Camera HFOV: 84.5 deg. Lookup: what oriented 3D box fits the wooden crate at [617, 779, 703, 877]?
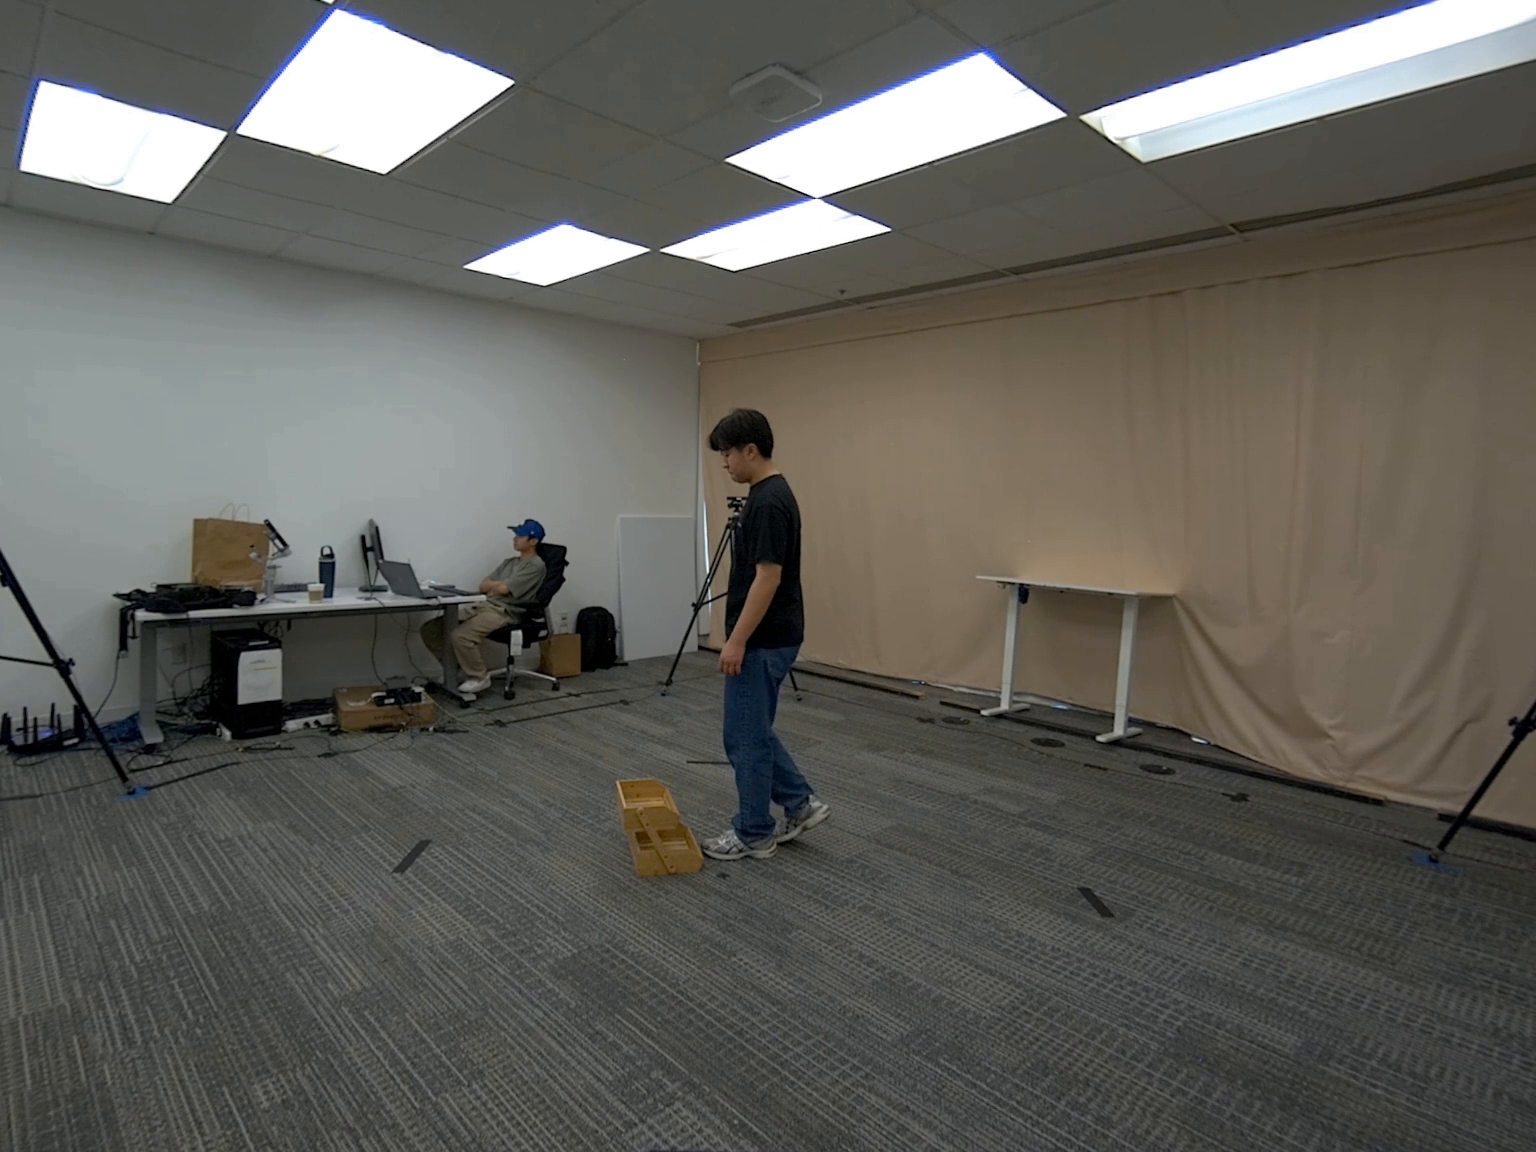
[{"bbox_3d":[-0.420,0.953,3.241,0.298,0.272,0.329,0,5,-15],"label":"wooden crate"}]
